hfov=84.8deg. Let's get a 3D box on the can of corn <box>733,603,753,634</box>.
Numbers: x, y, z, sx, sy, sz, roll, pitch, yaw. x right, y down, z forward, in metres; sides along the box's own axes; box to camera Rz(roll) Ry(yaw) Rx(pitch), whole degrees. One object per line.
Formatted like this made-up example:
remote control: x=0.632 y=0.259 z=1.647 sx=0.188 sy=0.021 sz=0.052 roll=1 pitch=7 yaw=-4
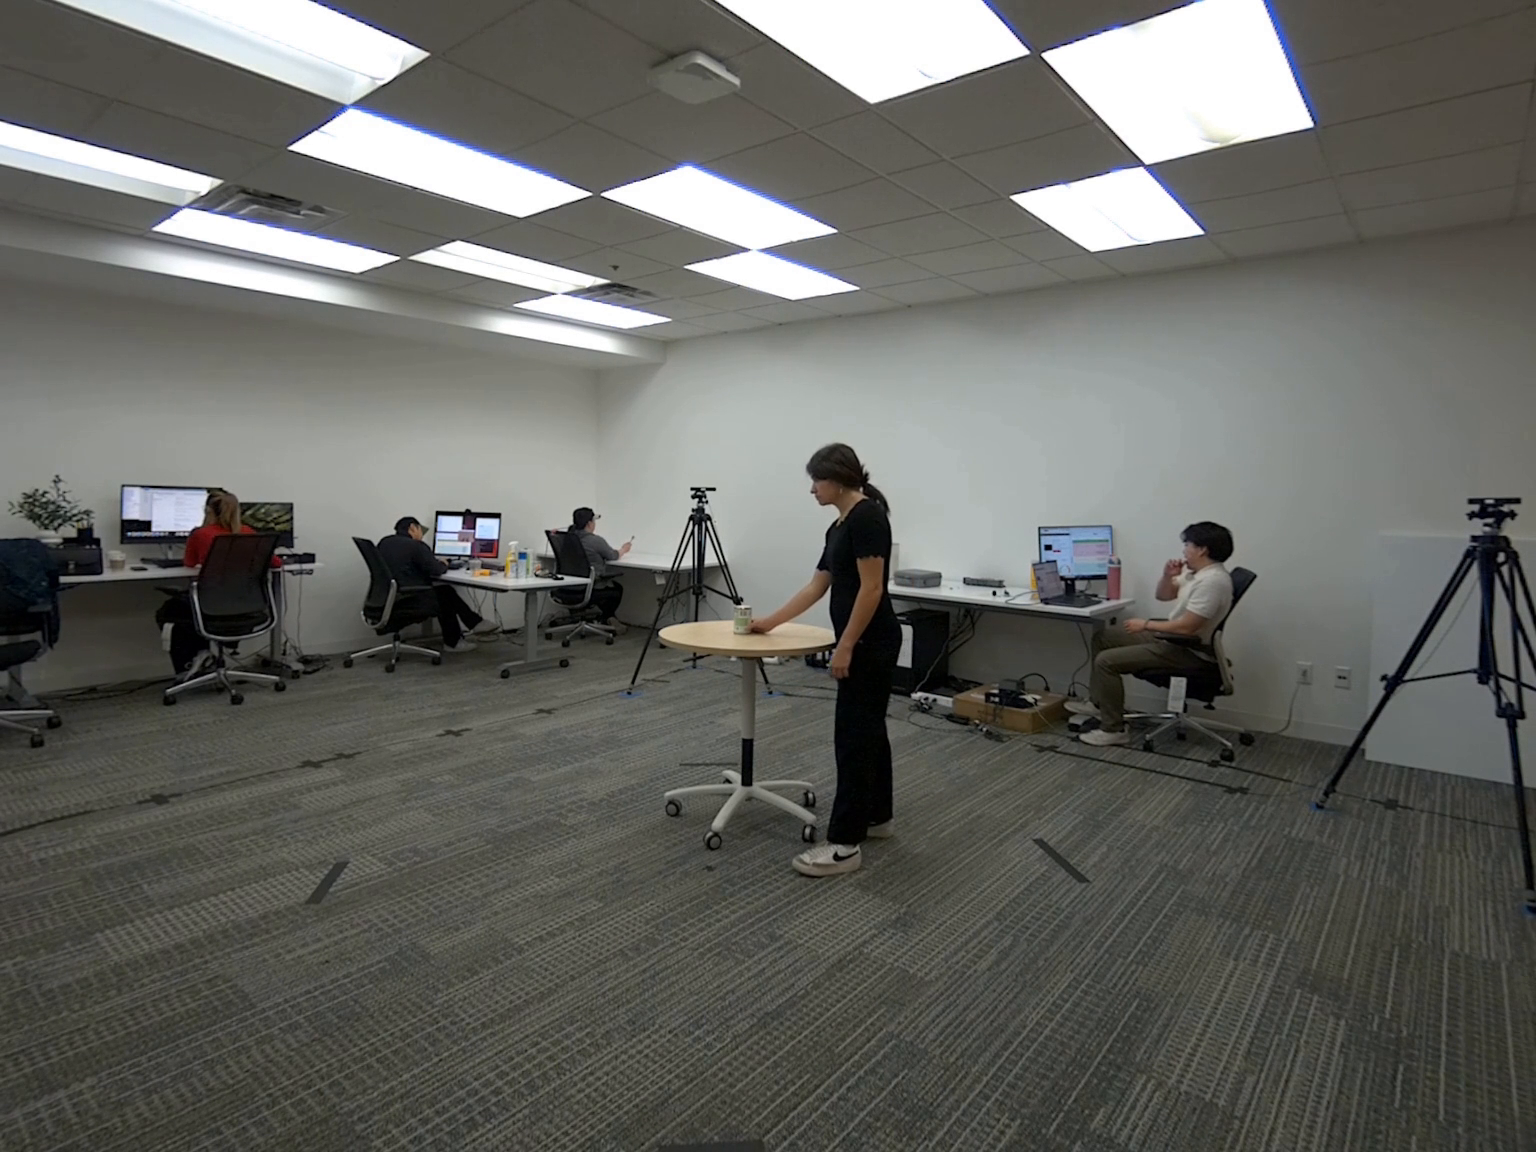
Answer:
can of corn: x=-0.123 y=0.179 z=3.585 sx=0.074 sy=0.111 sz=0.074 roll=2 pitch=2 yaw=-2
